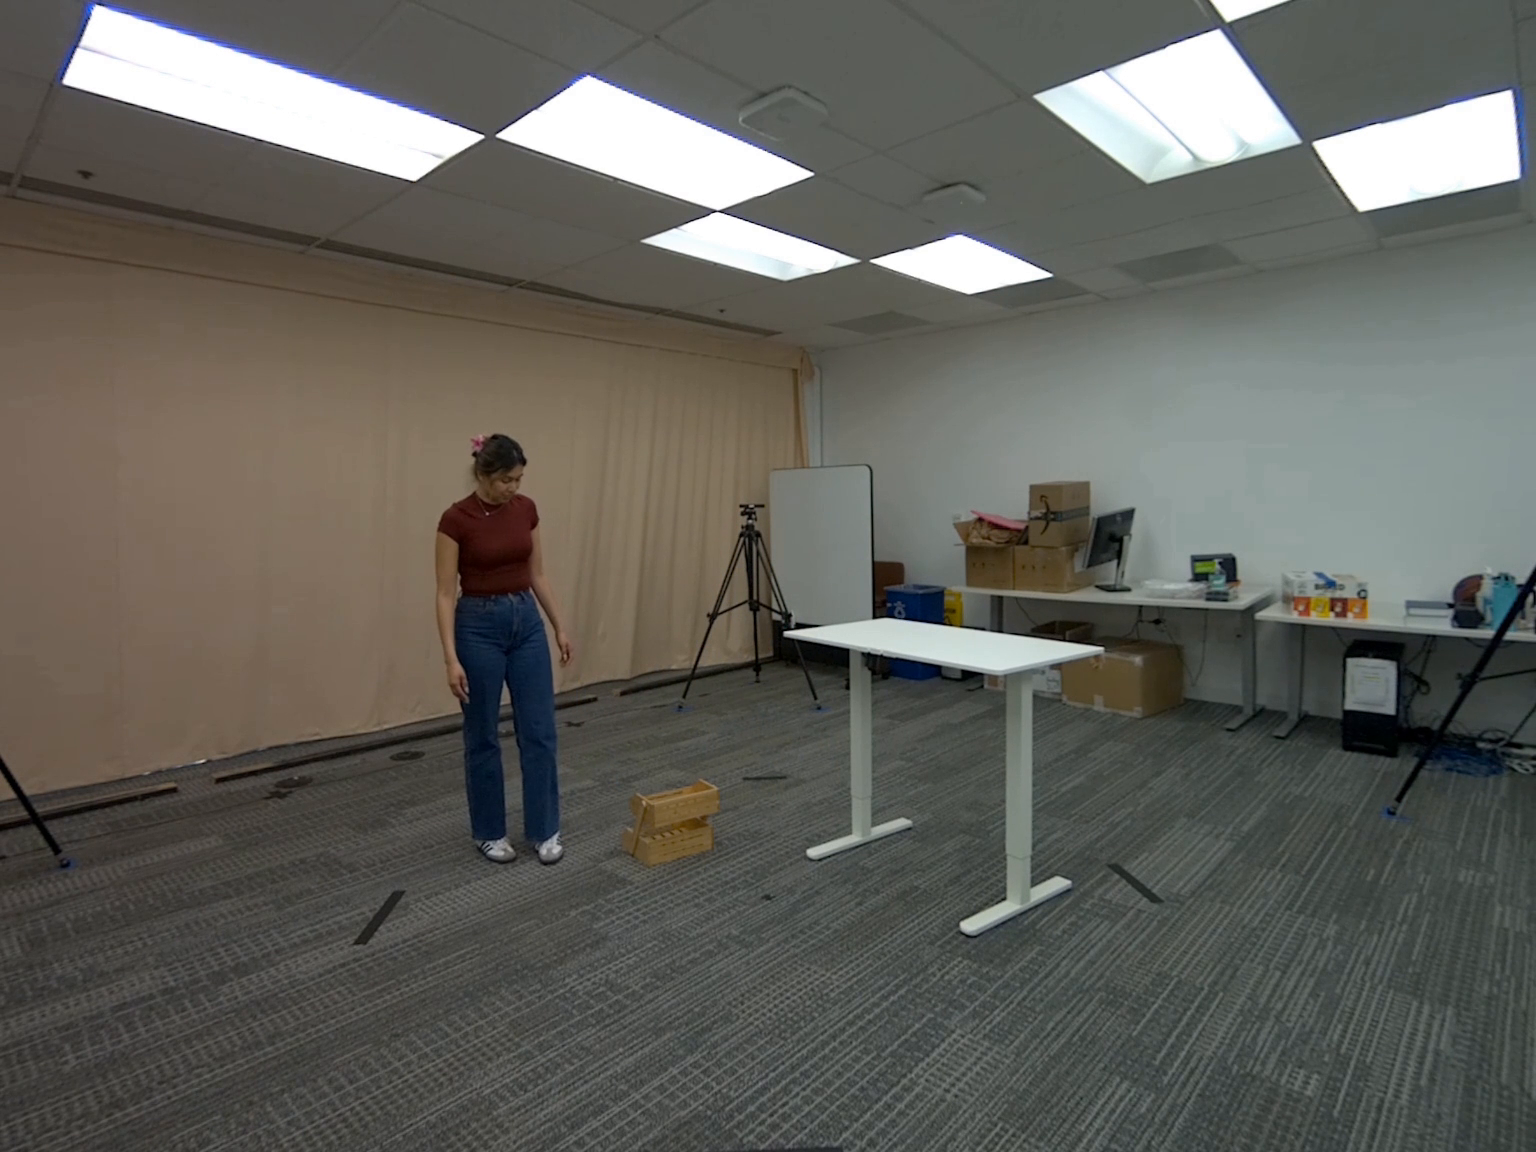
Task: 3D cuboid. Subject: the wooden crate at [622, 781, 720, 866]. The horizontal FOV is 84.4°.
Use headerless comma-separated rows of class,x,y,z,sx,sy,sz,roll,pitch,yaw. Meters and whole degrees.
wooden crate,-0.403,0.978,3.415,0.315,0.272,0.311,-4,5,-33
